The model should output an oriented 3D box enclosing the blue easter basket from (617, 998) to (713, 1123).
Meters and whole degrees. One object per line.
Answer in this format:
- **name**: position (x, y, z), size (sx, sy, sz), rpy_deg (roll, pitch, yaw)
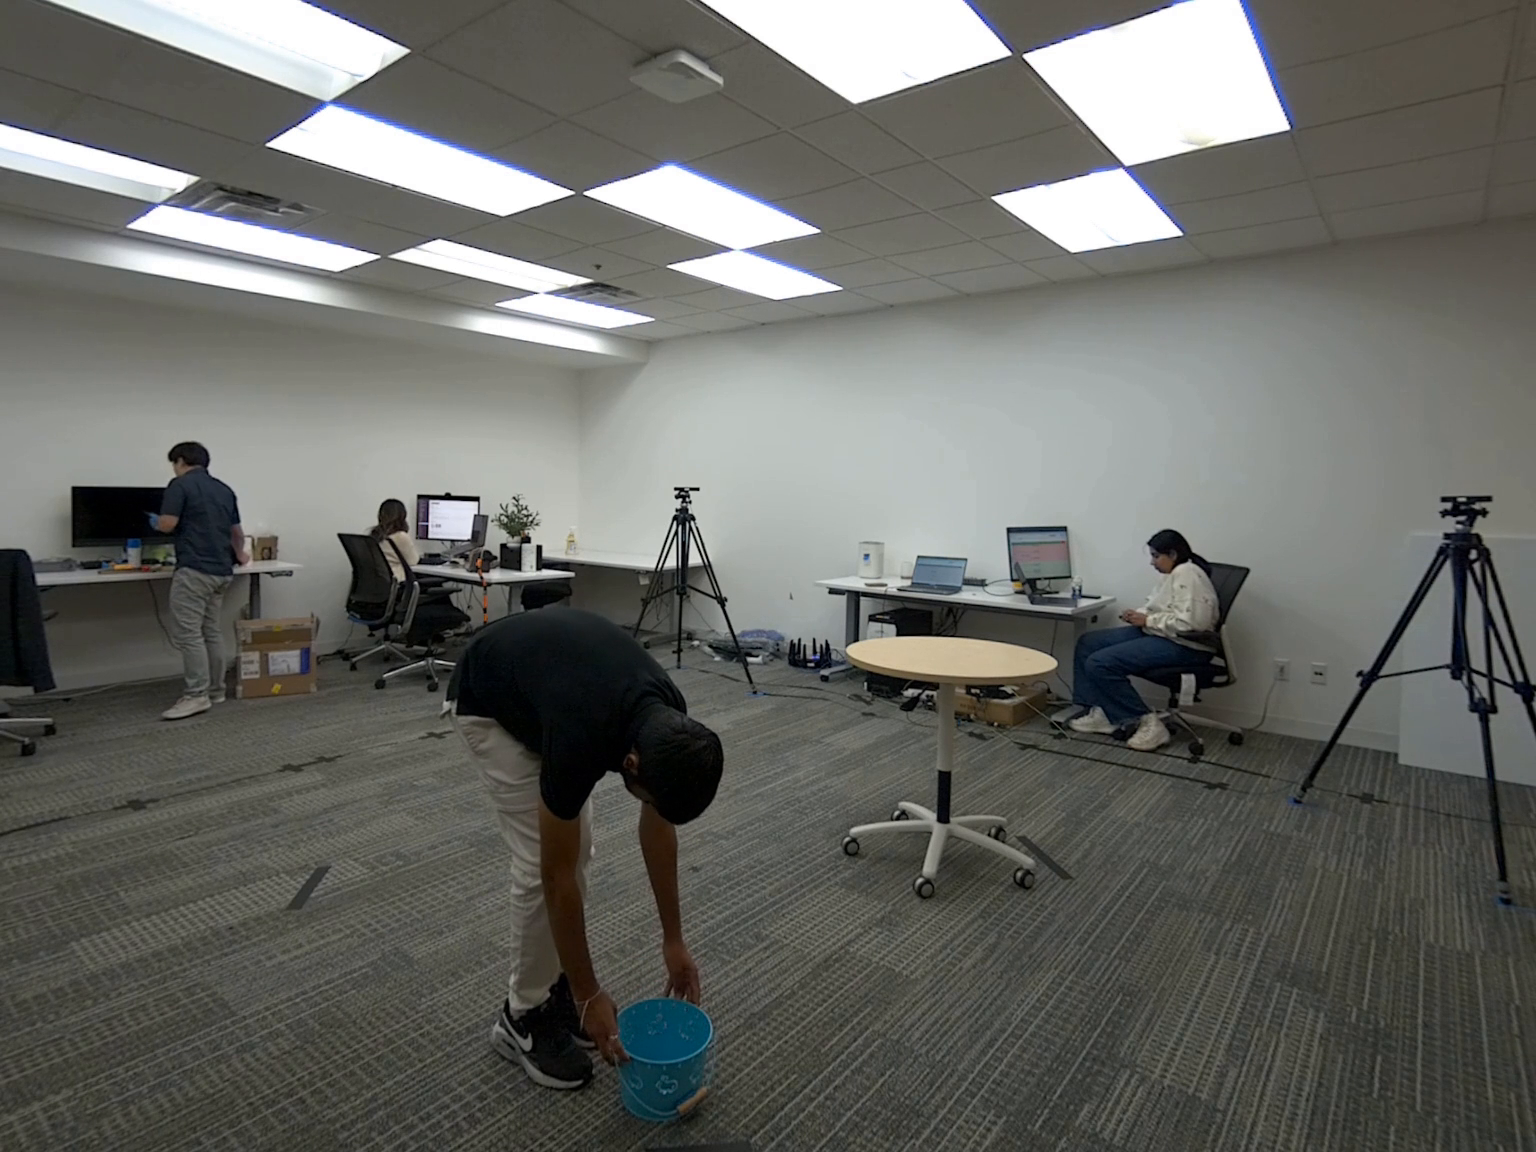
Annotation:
- **blue easter basket**: position (-0.249, 1.112, 1.944), size (0.243, 0.155, 0.245), rpy_deg (1, 8, -2)
